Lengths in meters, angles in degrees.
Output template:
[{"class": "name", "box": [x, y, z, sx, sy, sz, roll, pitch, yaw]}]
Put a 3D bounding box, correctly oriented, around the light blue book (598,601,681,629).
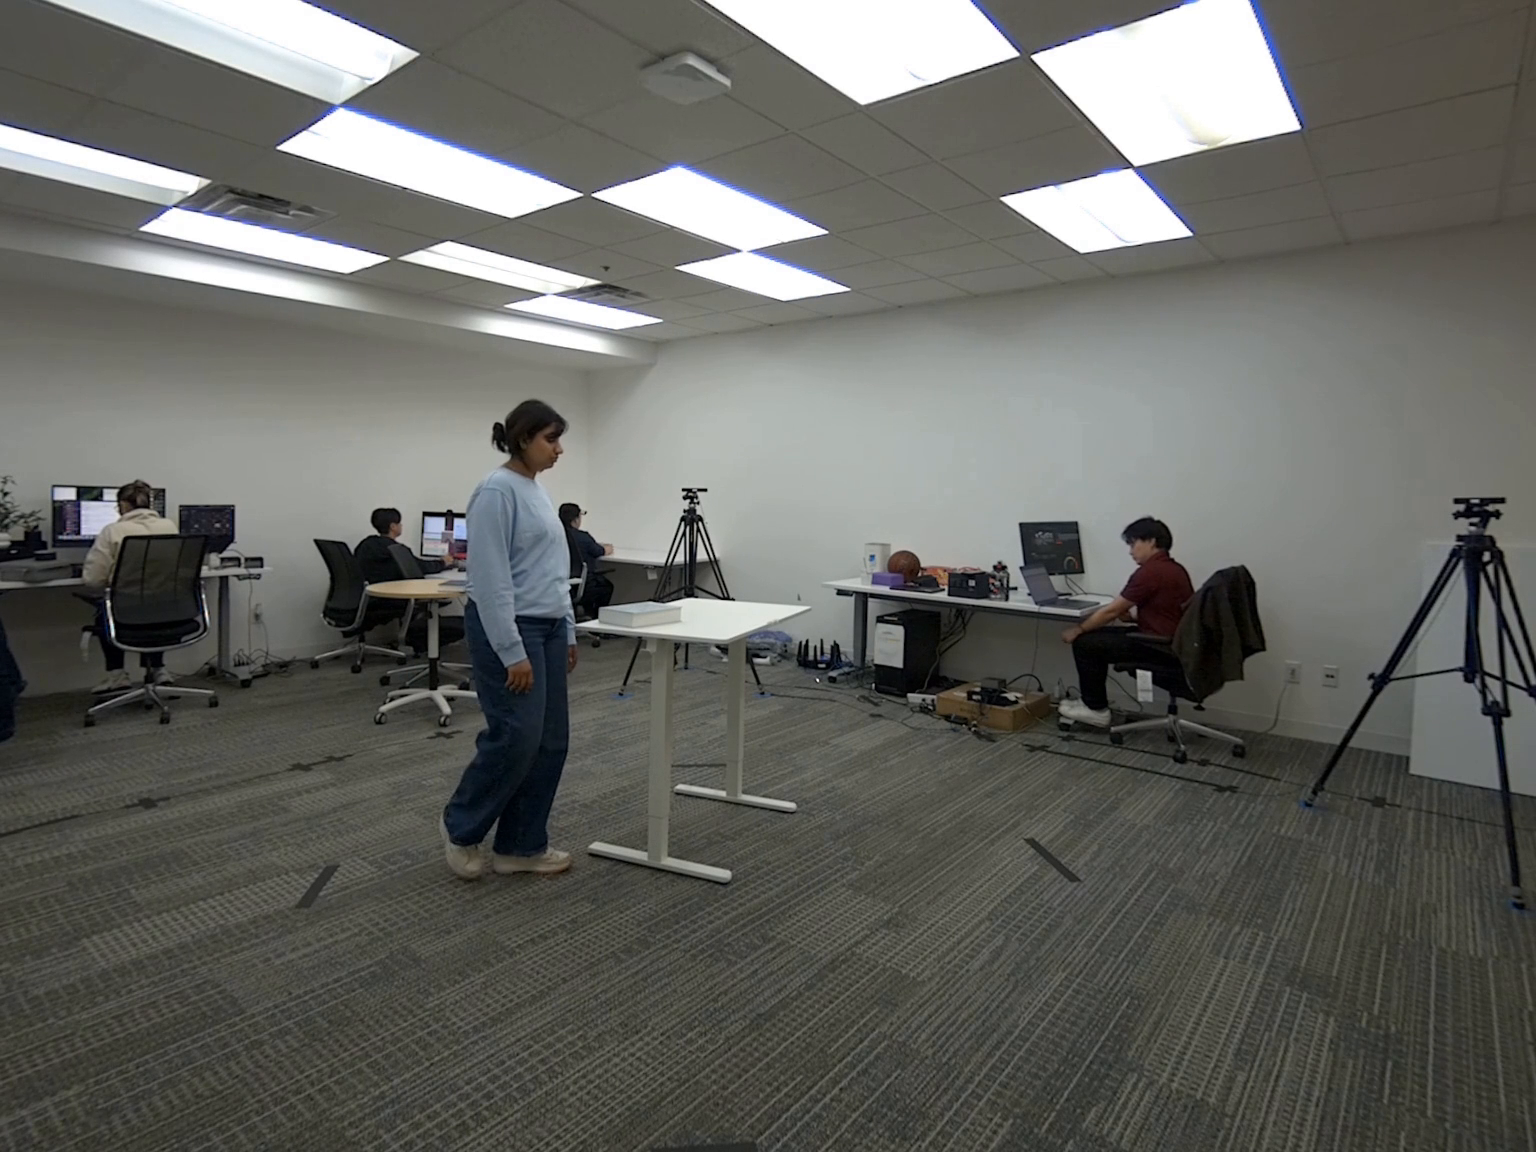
[{"class": "light blue book", "box": [-0.484, 0.144, 3.206, 0.198, 0.059, 0.253, 5, 7, 39]}]
